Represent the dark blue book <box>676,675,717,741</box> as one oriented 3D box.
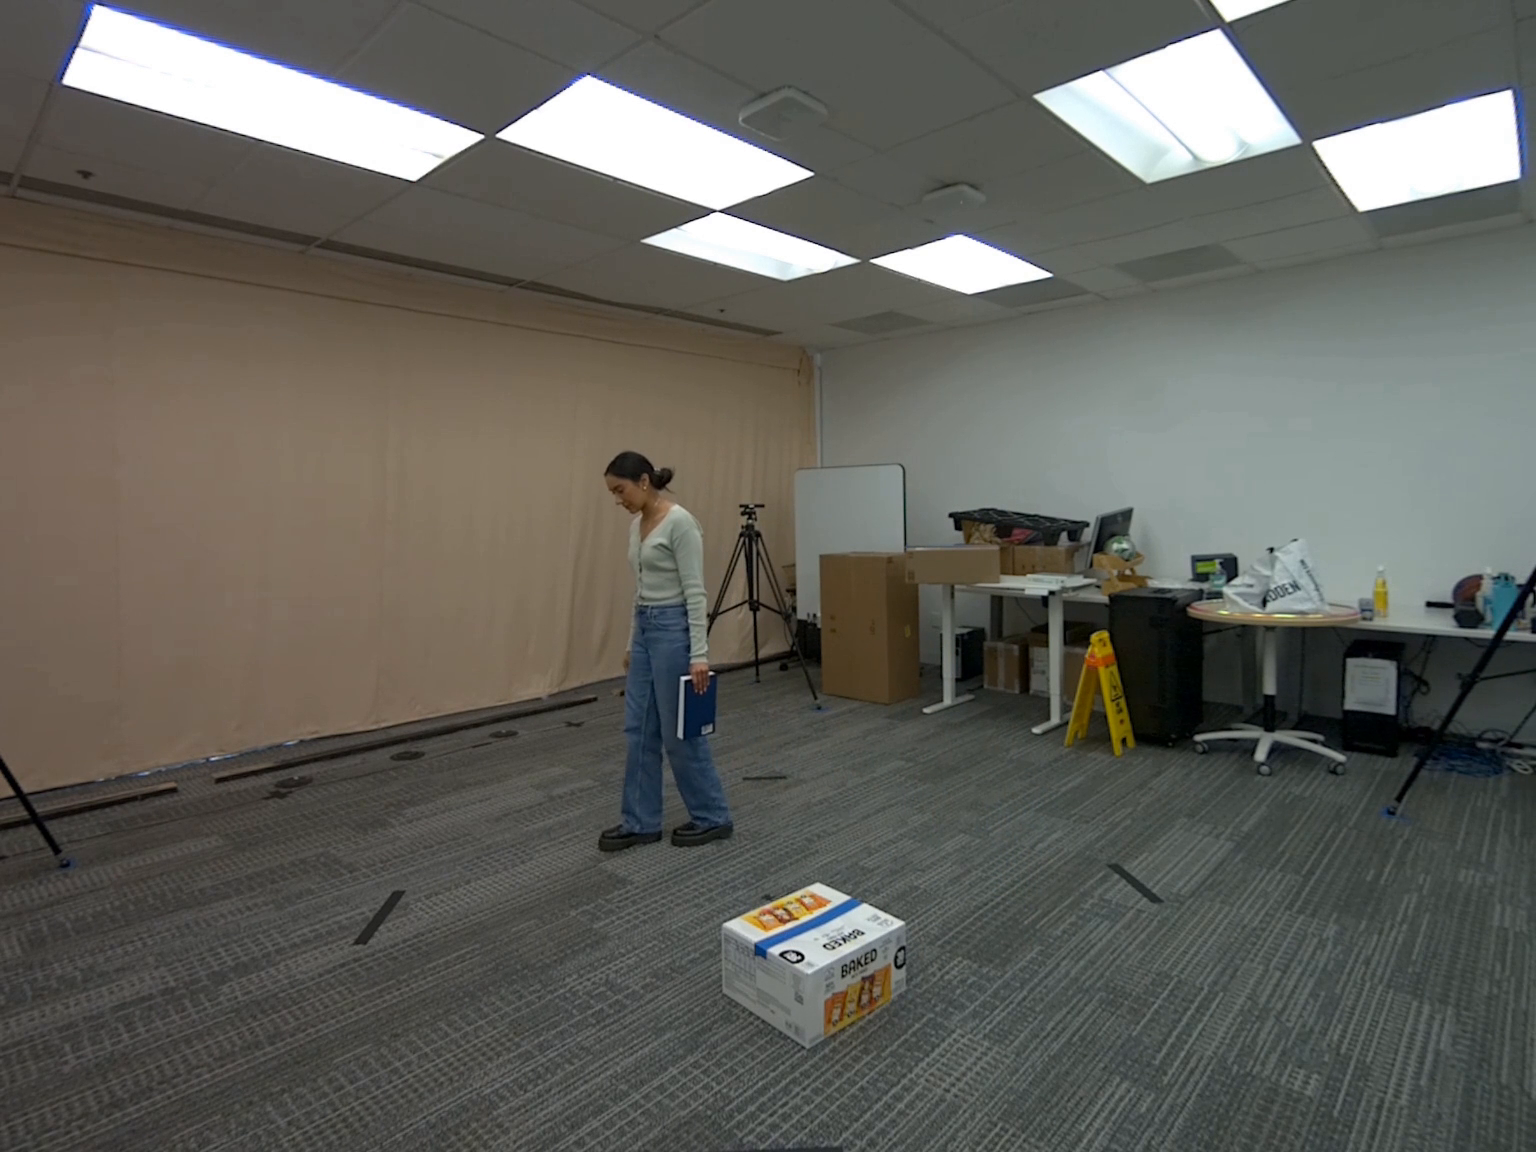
[{"bbox_3d":[-0.277,0.505,3.284,0.158,0.244,0.047,-4,11,-40],"label":"dark blue book"}]
